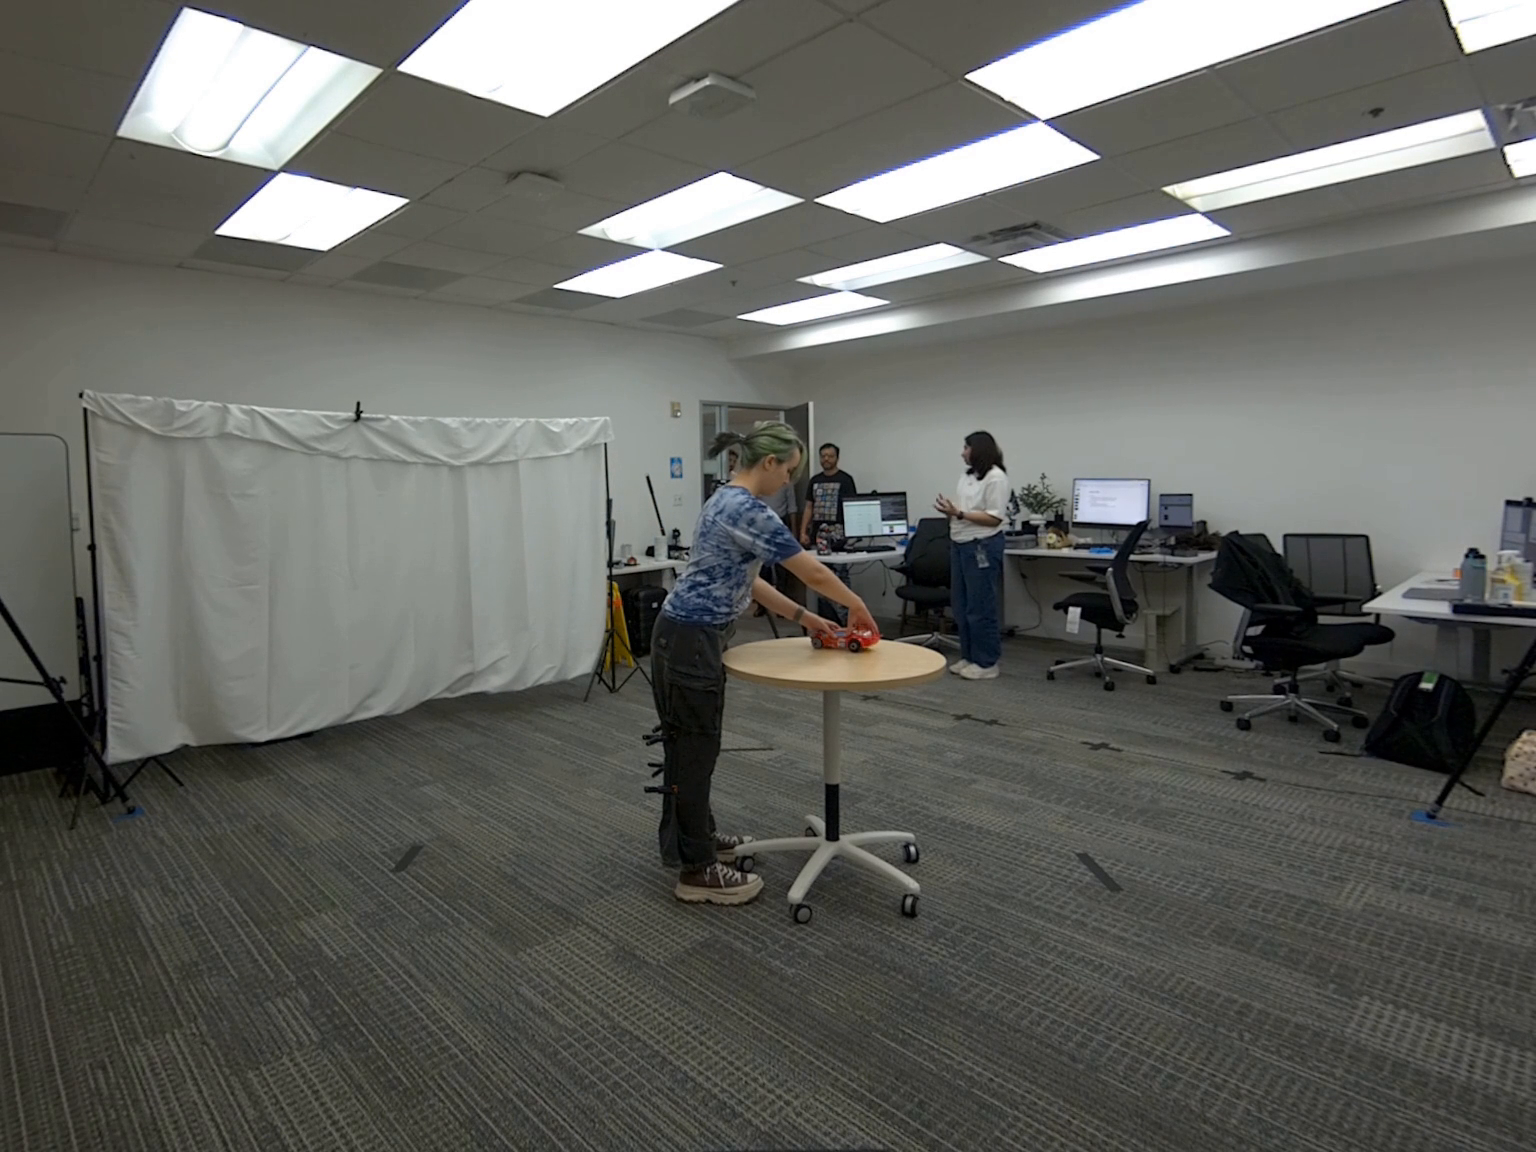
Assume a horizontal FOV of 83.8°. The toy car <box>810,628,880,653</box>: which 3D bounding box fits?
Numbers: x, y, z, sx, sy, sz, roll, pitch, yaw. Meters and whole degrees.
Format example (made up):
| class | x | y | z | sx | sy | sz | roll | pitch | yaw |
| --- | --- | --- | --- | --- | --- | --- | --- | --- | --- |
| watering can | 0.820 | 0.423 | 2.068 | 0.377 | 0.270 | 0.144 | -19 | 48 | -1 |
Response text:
| class | x | y | z | sx | sy | sz | roll | pitch | yaw |
| --- | --- | --- | --- | --- | --- | --- | --- | --- | --- |
| toy car | 0.287 | 0.232 | 3.068 | 0.260 | 0.083 | 0.127 | -11 | -1 | 31 |
